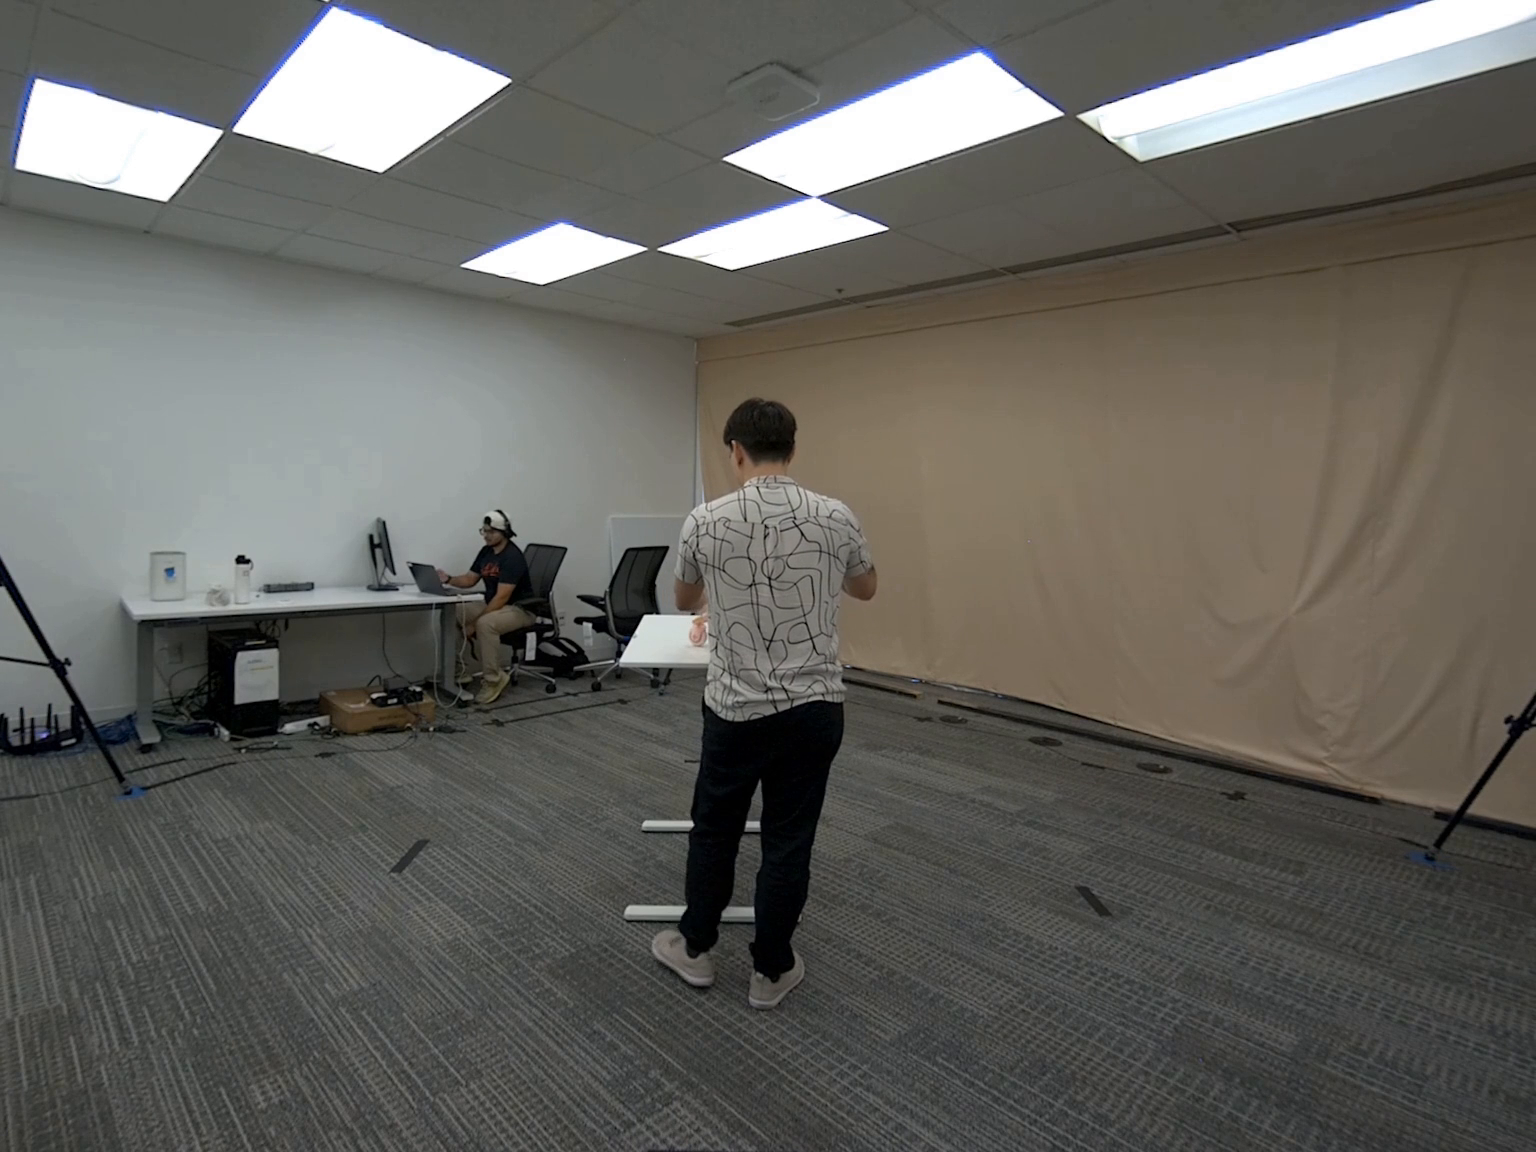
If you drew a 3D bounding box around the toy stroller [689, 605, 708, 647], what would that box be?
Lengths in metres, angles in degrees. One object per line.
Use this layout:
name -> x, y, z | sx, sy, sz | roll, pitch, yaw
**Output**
toy stroller -> -0.072, 0.031, 2.772 | 0.351, 0.532, 0.275 | 21, 13, 32
